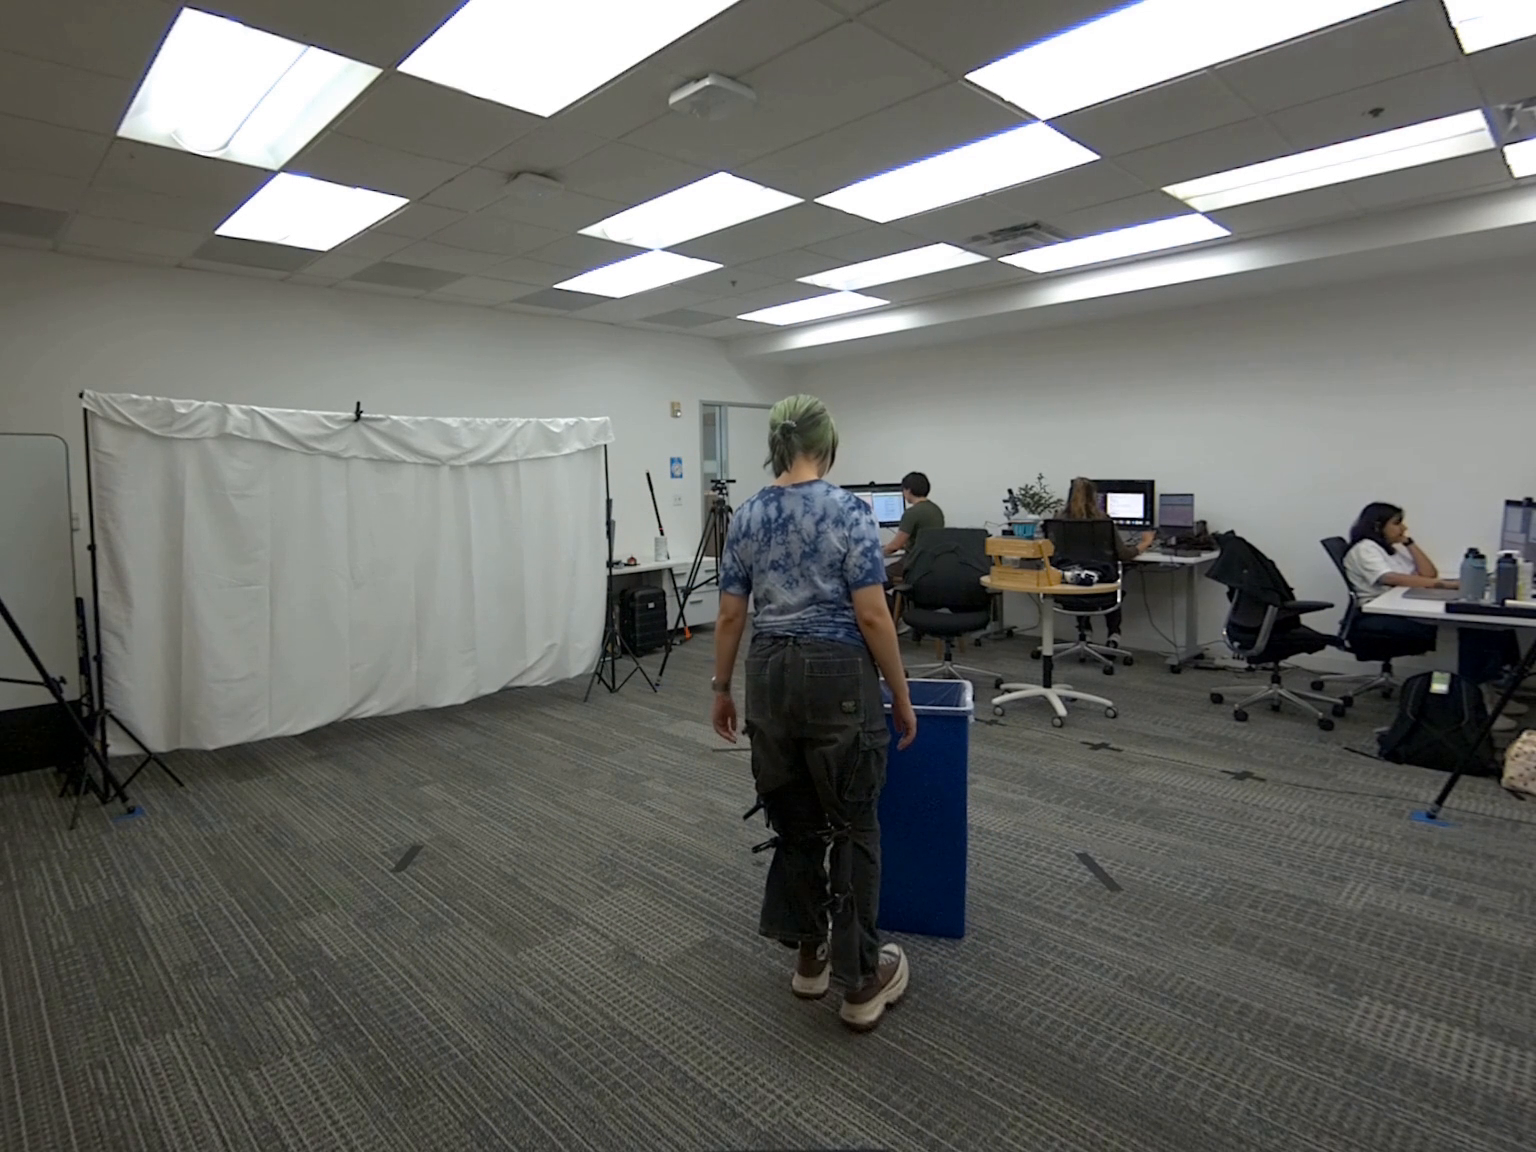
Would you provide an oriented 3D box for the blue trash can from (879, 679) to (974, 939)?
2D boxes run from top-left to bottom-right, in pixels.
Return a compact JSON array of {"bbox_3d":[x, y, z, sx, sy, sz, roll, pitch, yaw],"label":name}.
[{"bbox_3d":[0.470,0.723,2.734,0.379,0.711,0.374,0,4,14],"label":"blue trash can"}]
